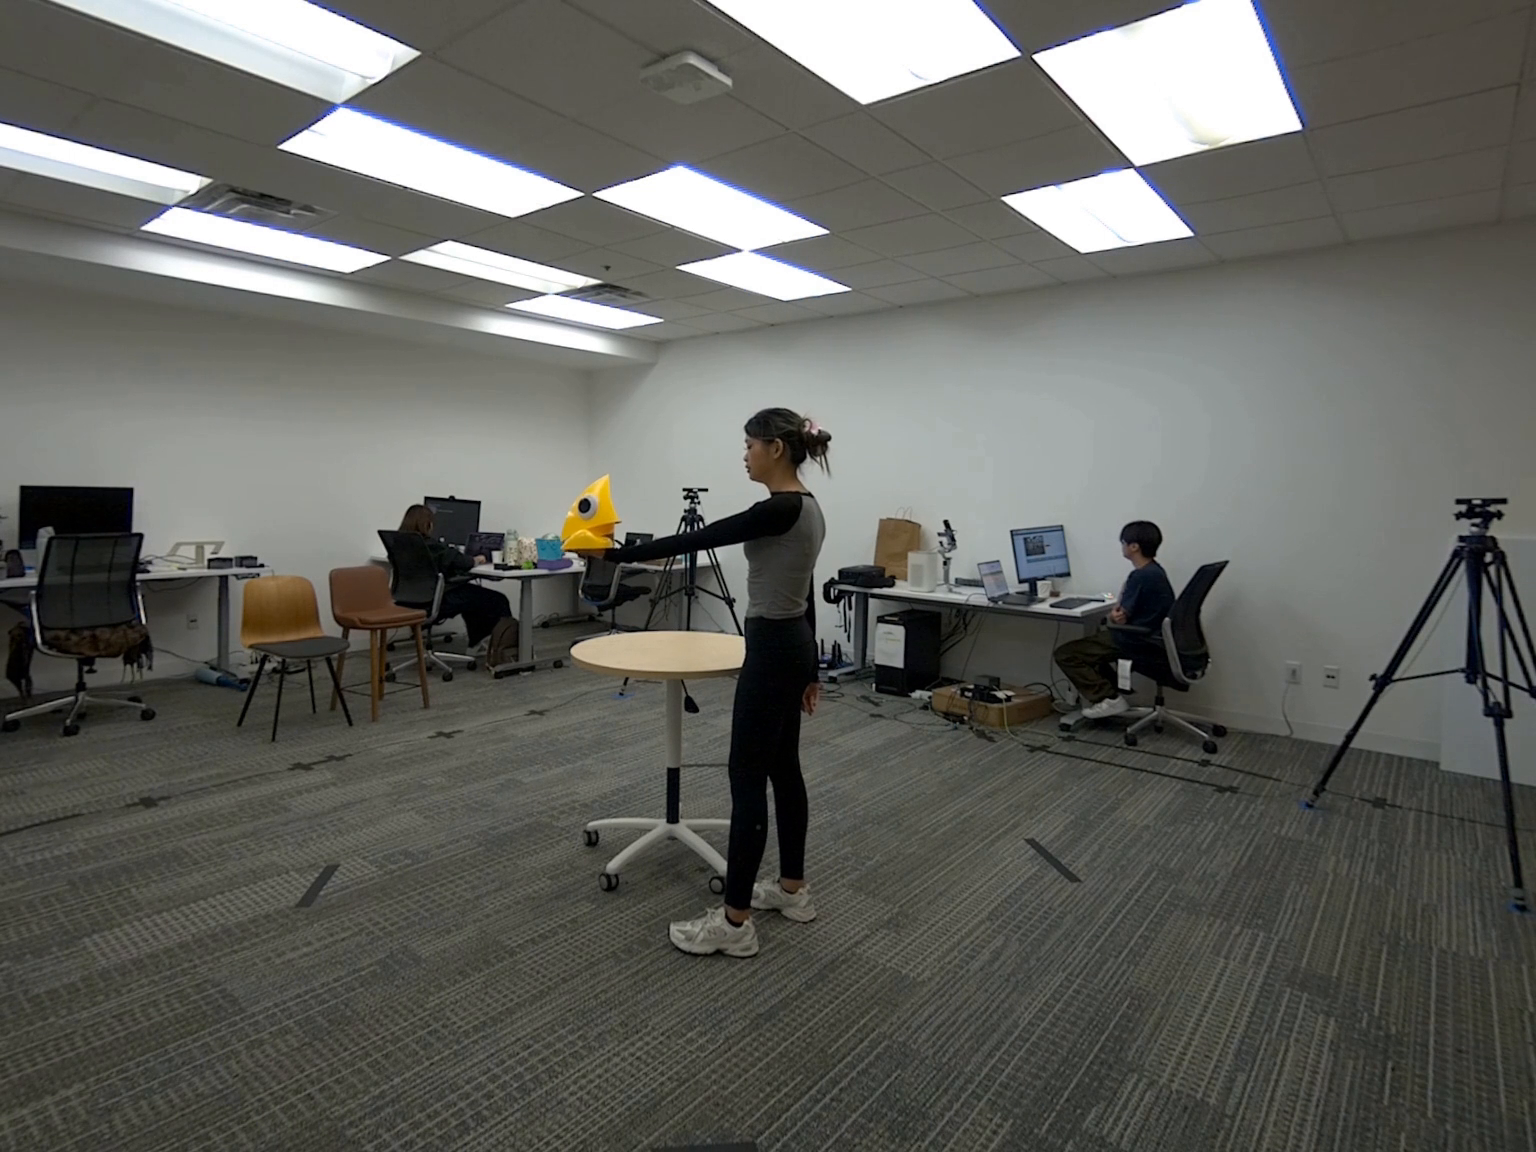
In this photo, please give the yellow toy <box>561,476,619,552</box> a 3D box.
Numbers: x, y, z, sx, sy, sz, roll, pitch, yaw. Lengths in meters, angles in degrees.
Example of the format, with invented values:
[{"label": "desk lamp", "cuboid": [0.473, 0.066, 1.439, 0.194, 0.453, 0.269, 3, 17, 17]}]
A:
[{"label": "yellow toy", "cuboid": [-0.569, -0.204, 2.665, 0.192, 0.231, 0.206, -2, 0, -6]}]
